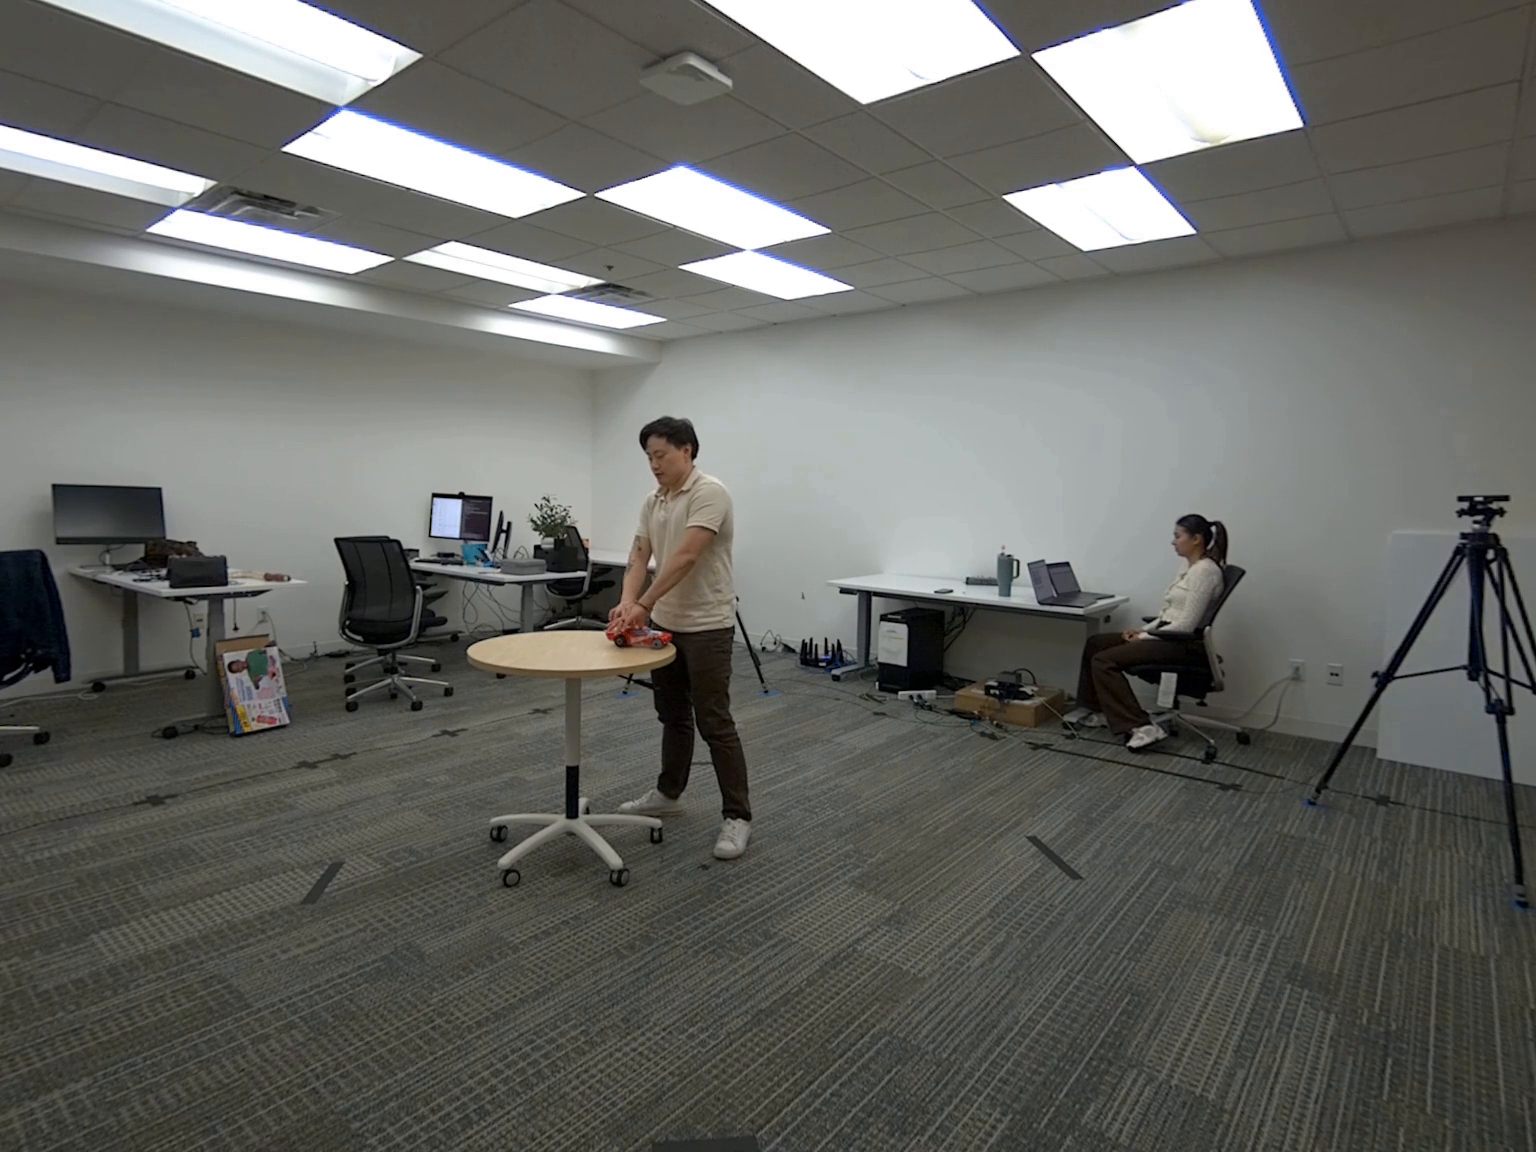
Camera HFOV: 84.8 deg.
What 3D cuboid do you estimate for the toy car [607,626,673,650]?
[{"bbox_3d":[-0.516,0.233,3.259,0.258,0.083,0.129,14,7,9],"label":"toy car"}]
